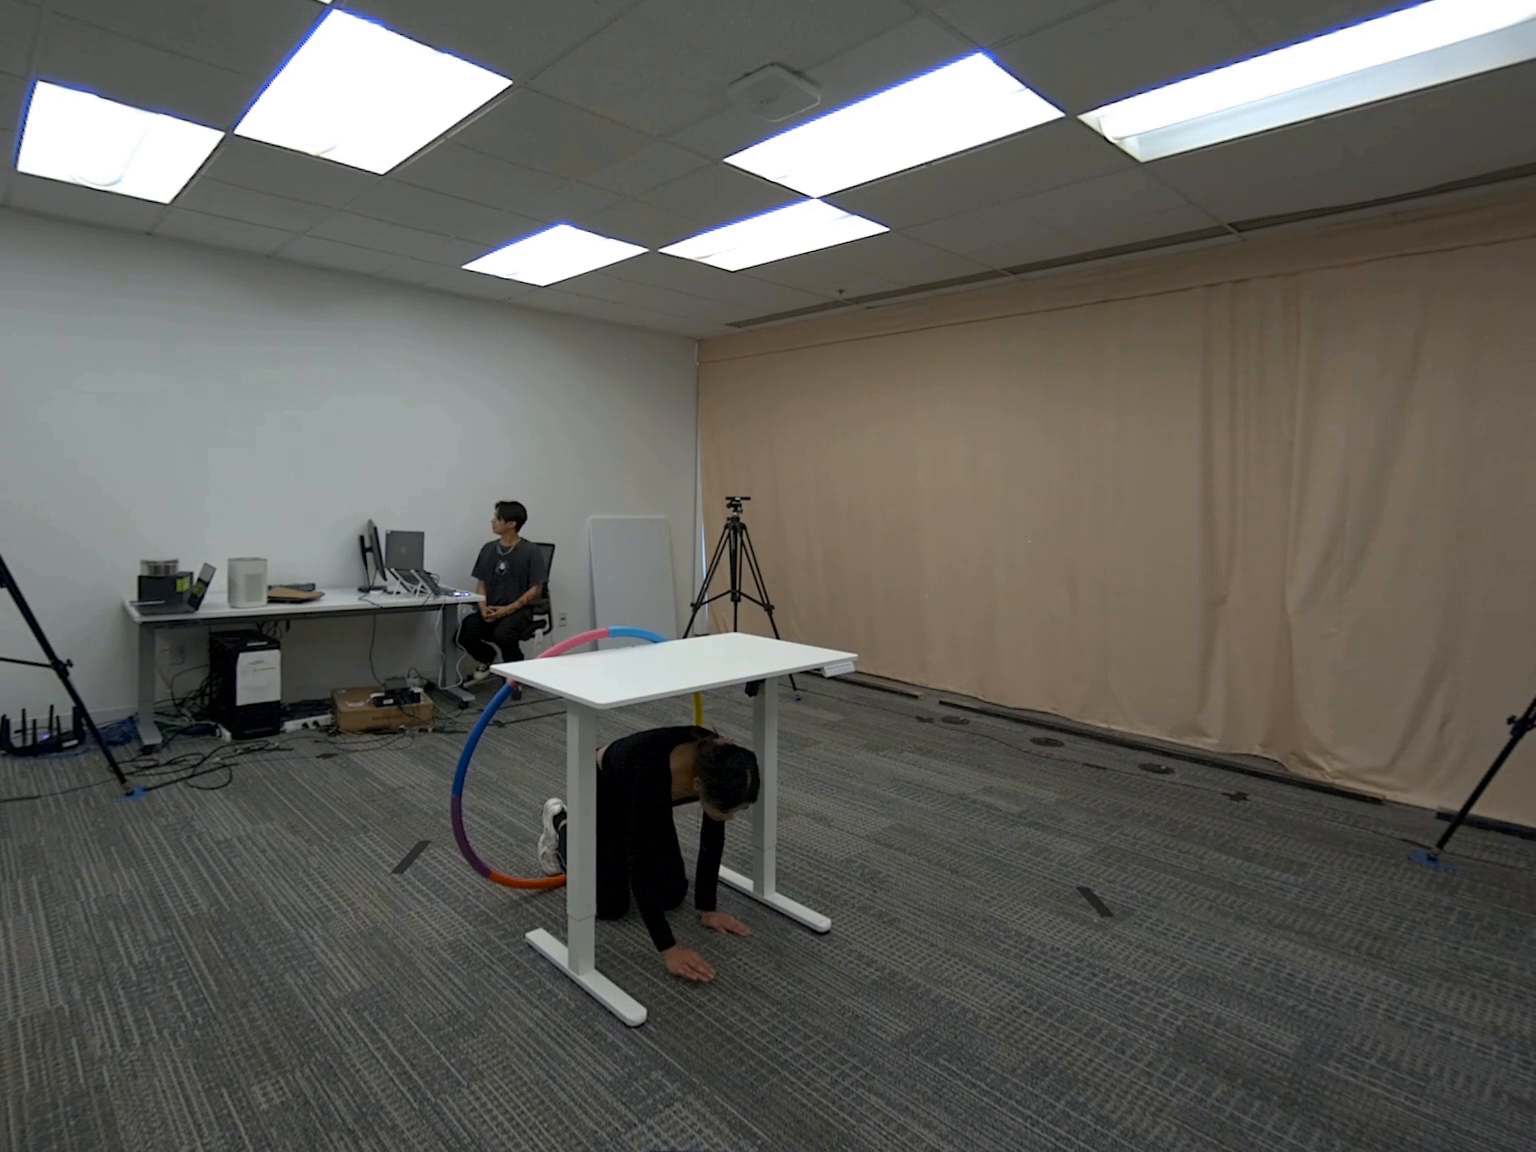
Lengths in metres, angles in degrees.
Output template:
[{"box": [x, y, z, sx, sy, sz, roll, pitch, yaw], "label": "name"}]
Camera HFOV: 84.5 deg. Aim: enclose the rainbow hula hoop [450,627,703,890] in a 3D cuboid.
[{"box": [-0.627, 0.645, 2.910, 0.956, 0.971, 0.036, -3, 21, -44], "label": "rainbow hula hoop"}]
